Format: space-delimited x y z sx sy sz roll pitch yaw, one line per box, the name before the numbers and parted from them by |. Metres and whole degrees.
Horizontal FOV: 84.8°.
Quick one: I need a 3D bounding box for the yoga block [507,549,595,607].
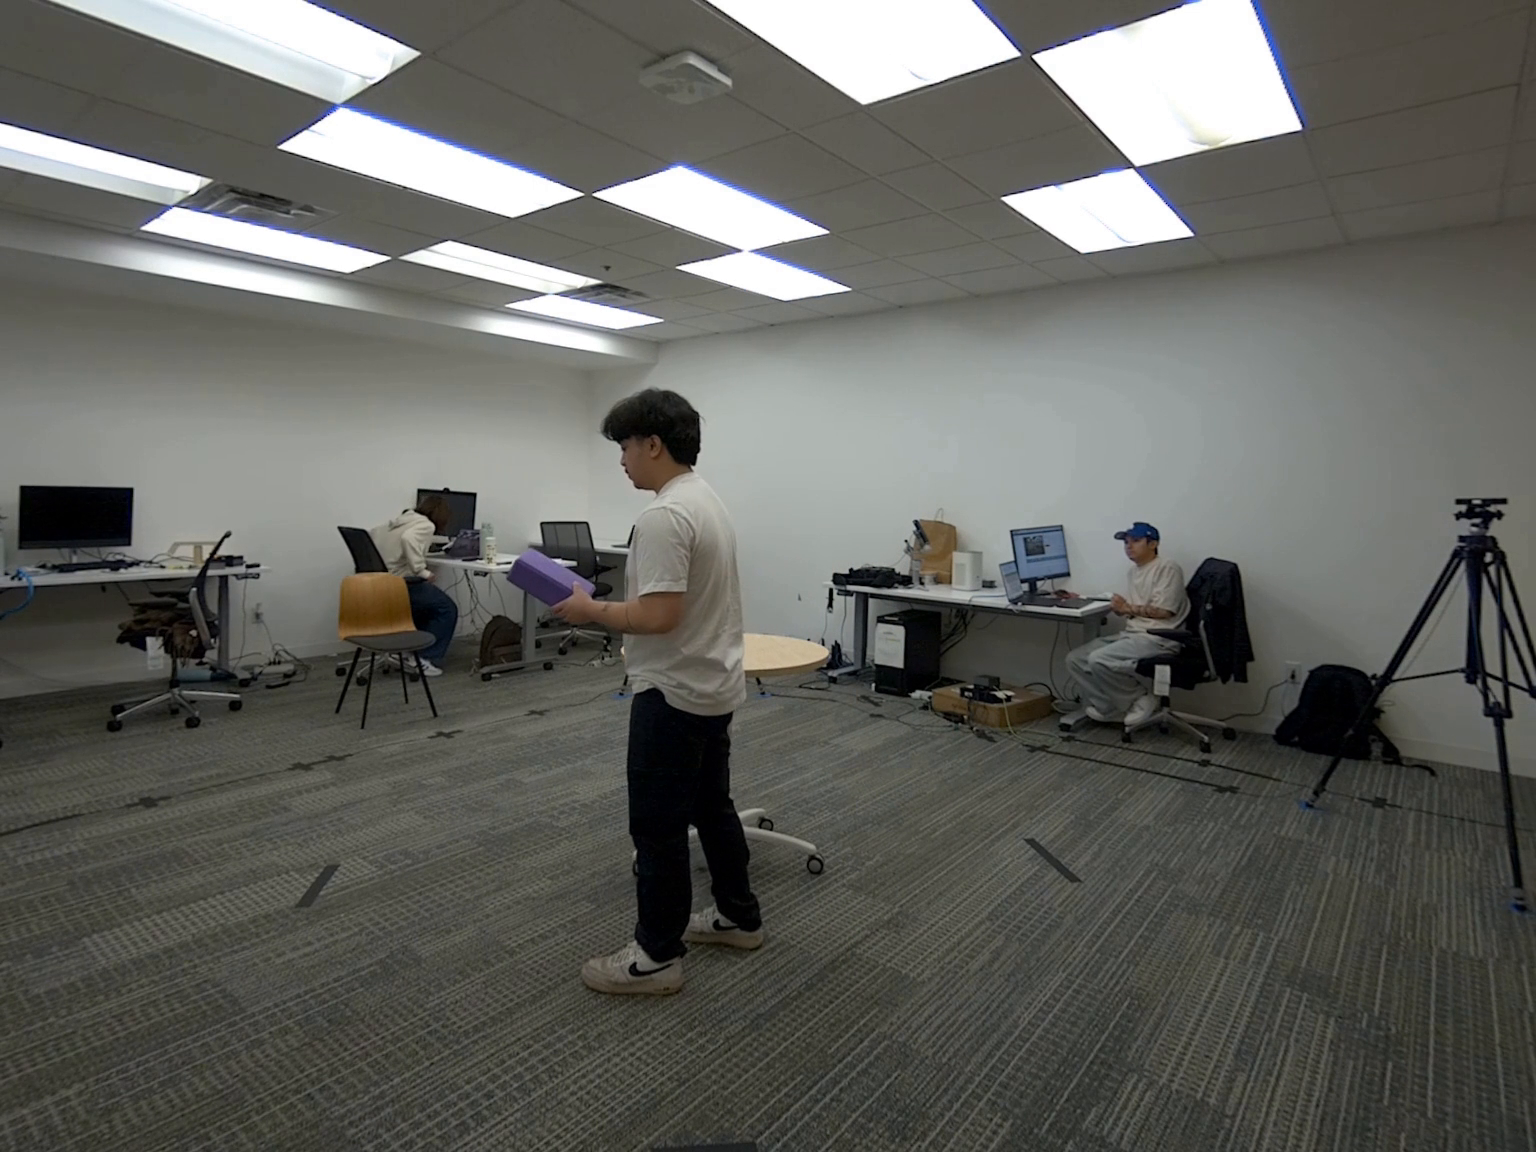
yoga block | -0.633 0.019 2.443 0.230 0.076 0.149 31 11 0
